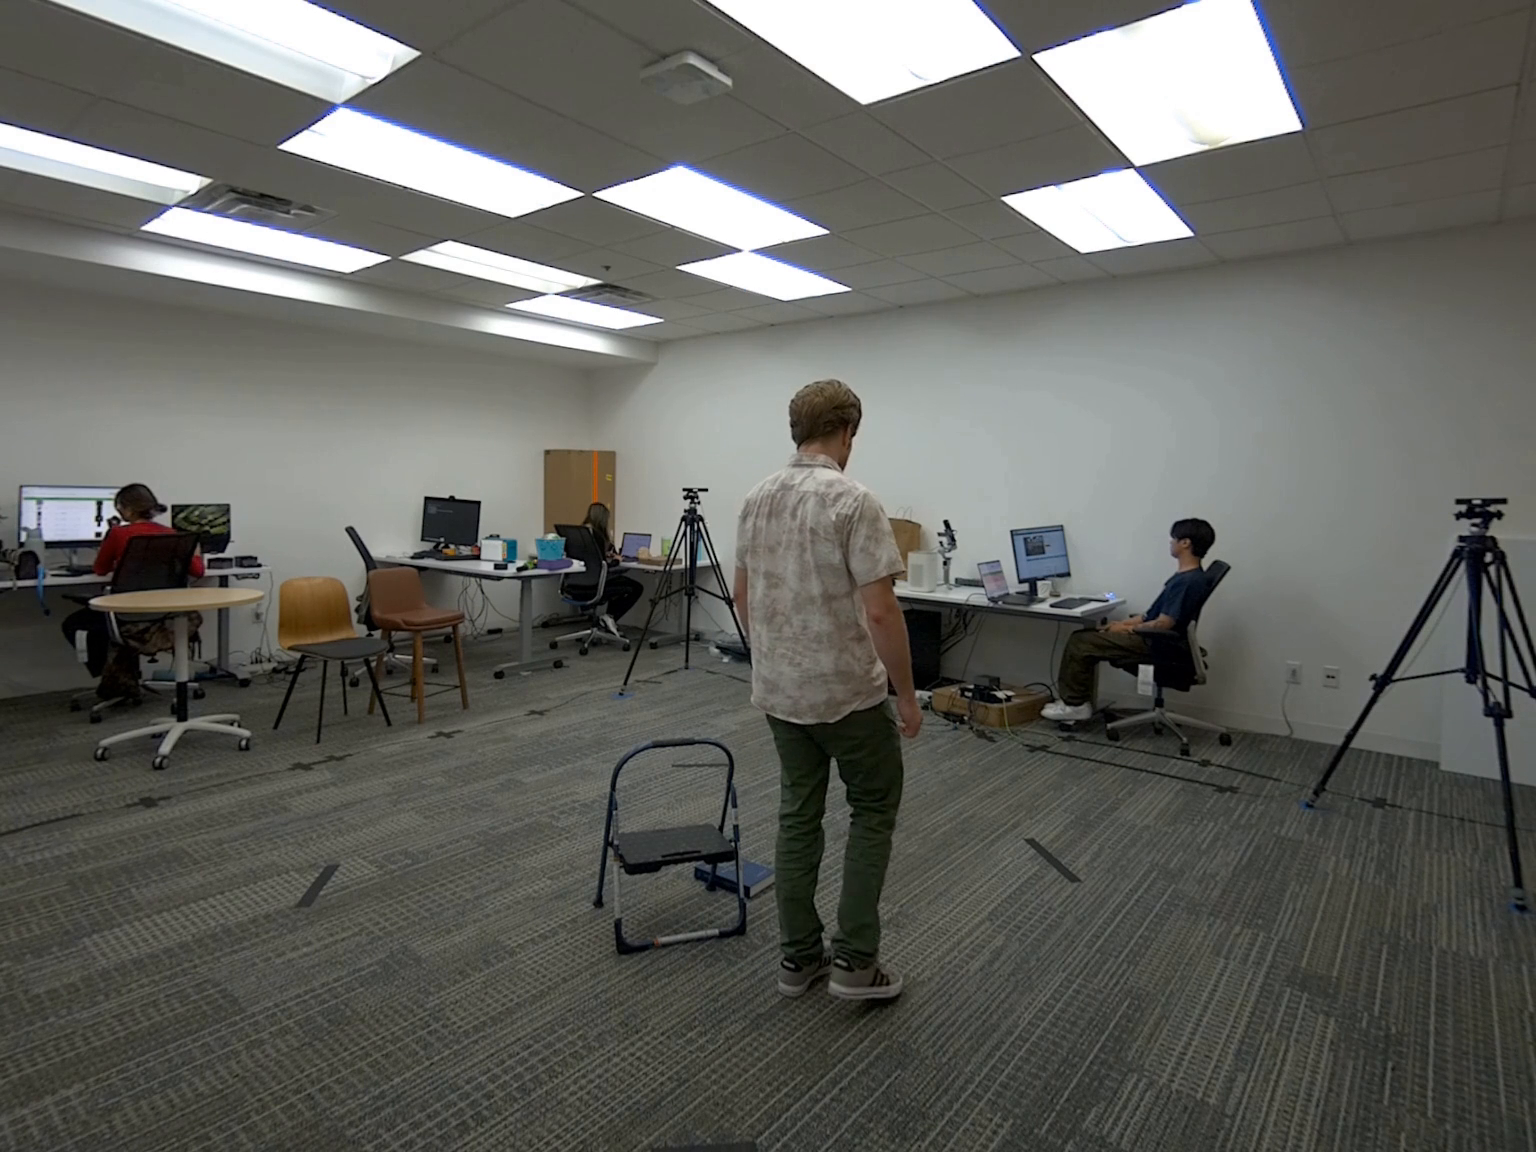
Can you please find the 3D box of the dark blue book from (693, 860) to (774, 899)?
[{"bbox_3d":[-0.123,1.053,3.019,0.253,0.045,0.159,4,6,36],"label":"dark blue book"}]
